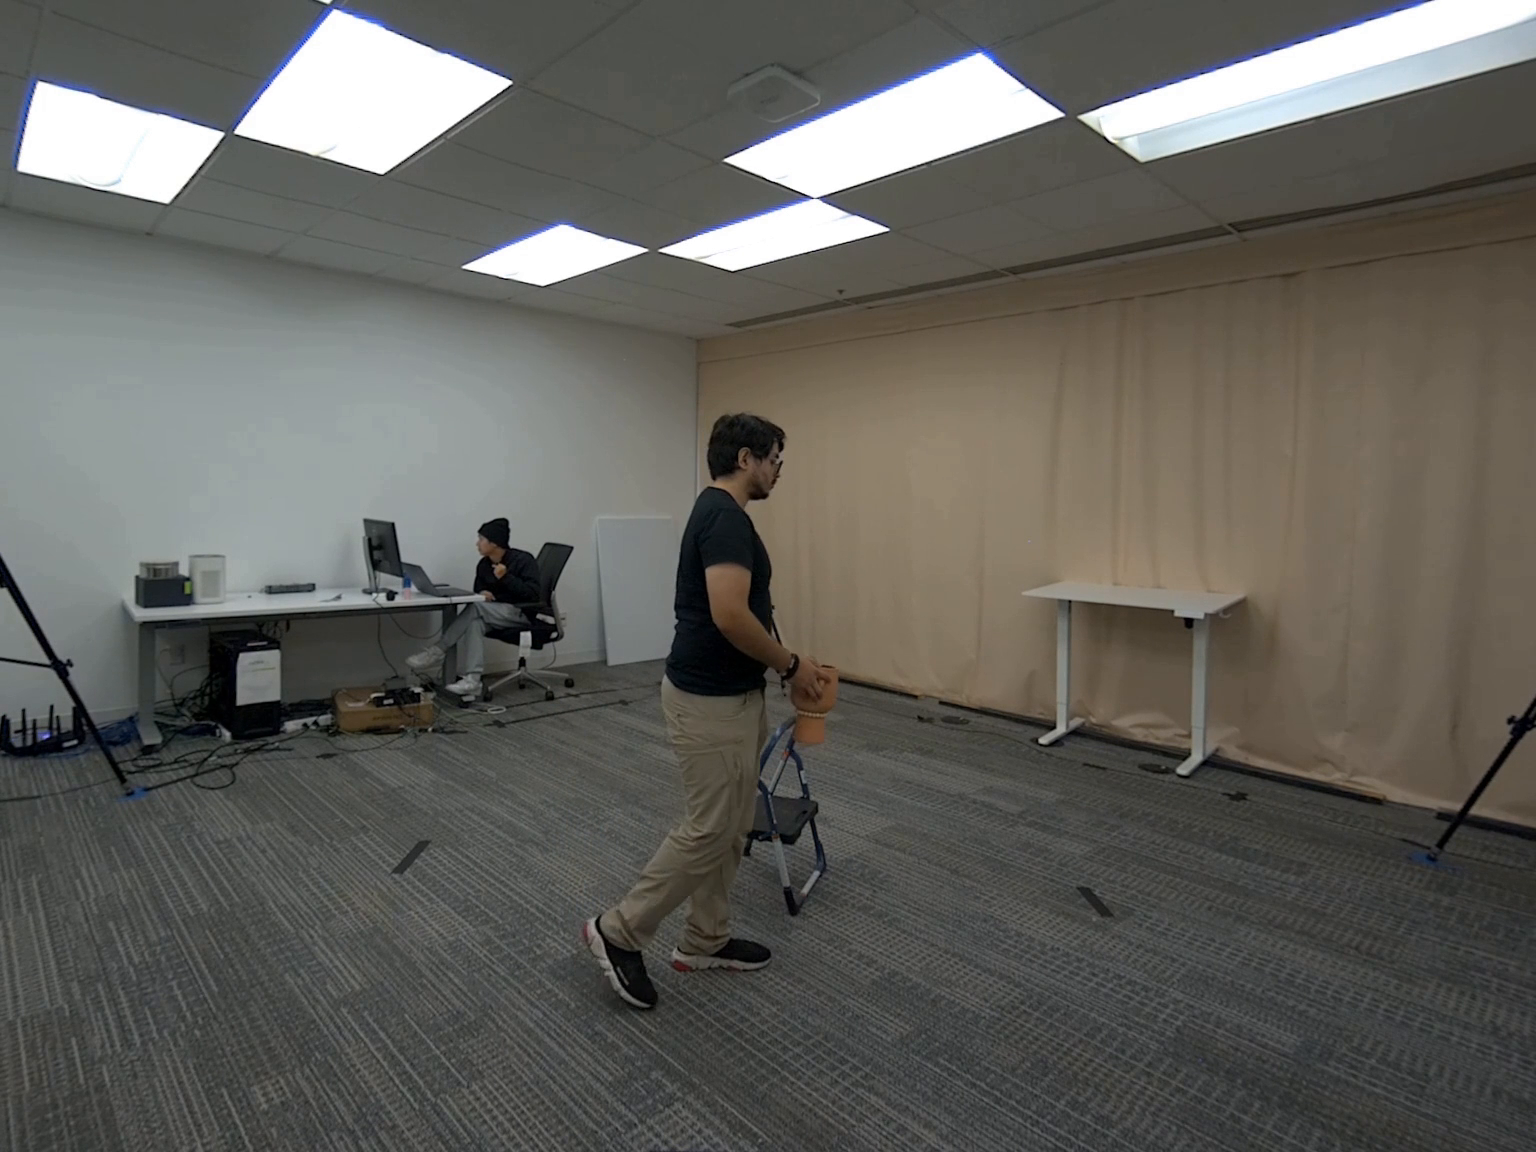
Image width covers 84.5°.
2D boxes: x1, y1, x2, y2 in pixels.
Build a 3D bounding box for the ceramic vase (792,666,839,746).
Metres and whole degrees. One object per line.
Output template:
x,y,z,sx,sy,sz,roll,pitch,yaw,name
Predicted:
0.120,0.371,2.445,0.138,0.220,0.155,5,-1,30,ceramic vase
